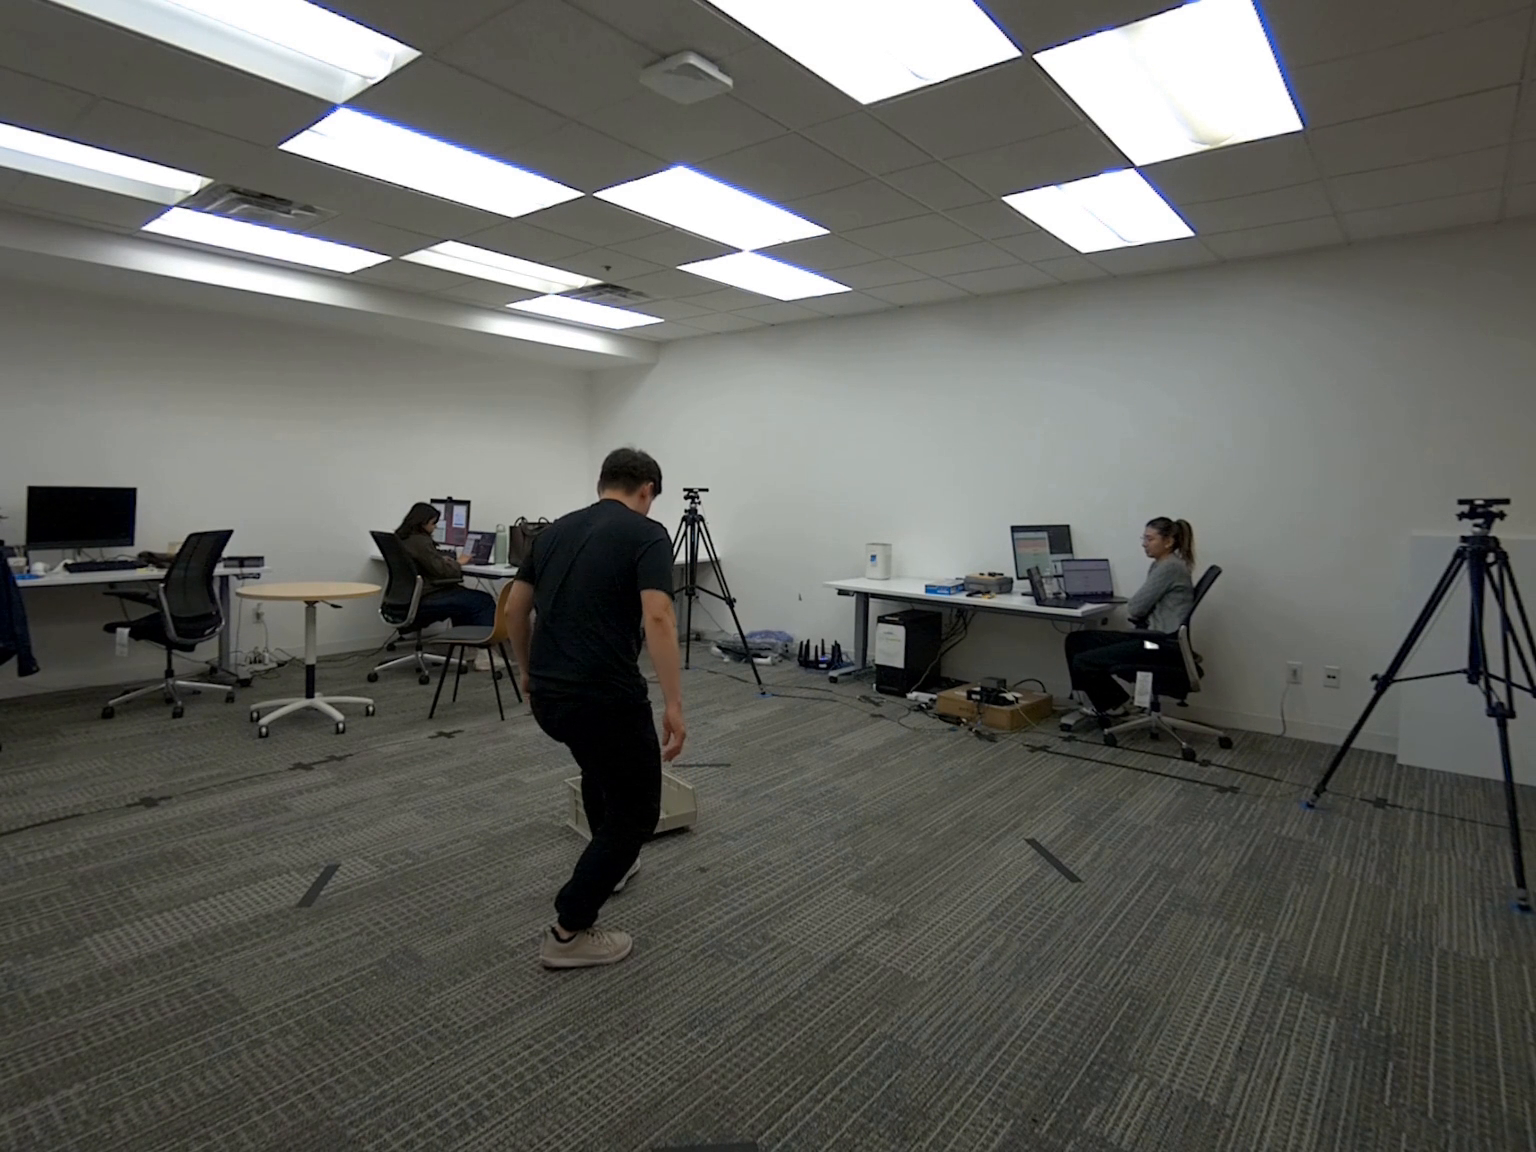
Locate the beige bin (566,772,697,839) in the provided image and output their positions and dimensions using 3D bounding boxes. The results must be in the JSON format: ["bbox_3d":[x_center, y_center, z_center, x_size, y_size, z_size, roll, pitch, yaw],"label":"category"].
[{"bbox_3d":[-0.572,0.938,3.483,0.410,0.188,0.390,-4,6,-37],"label":"beige bin"}]
